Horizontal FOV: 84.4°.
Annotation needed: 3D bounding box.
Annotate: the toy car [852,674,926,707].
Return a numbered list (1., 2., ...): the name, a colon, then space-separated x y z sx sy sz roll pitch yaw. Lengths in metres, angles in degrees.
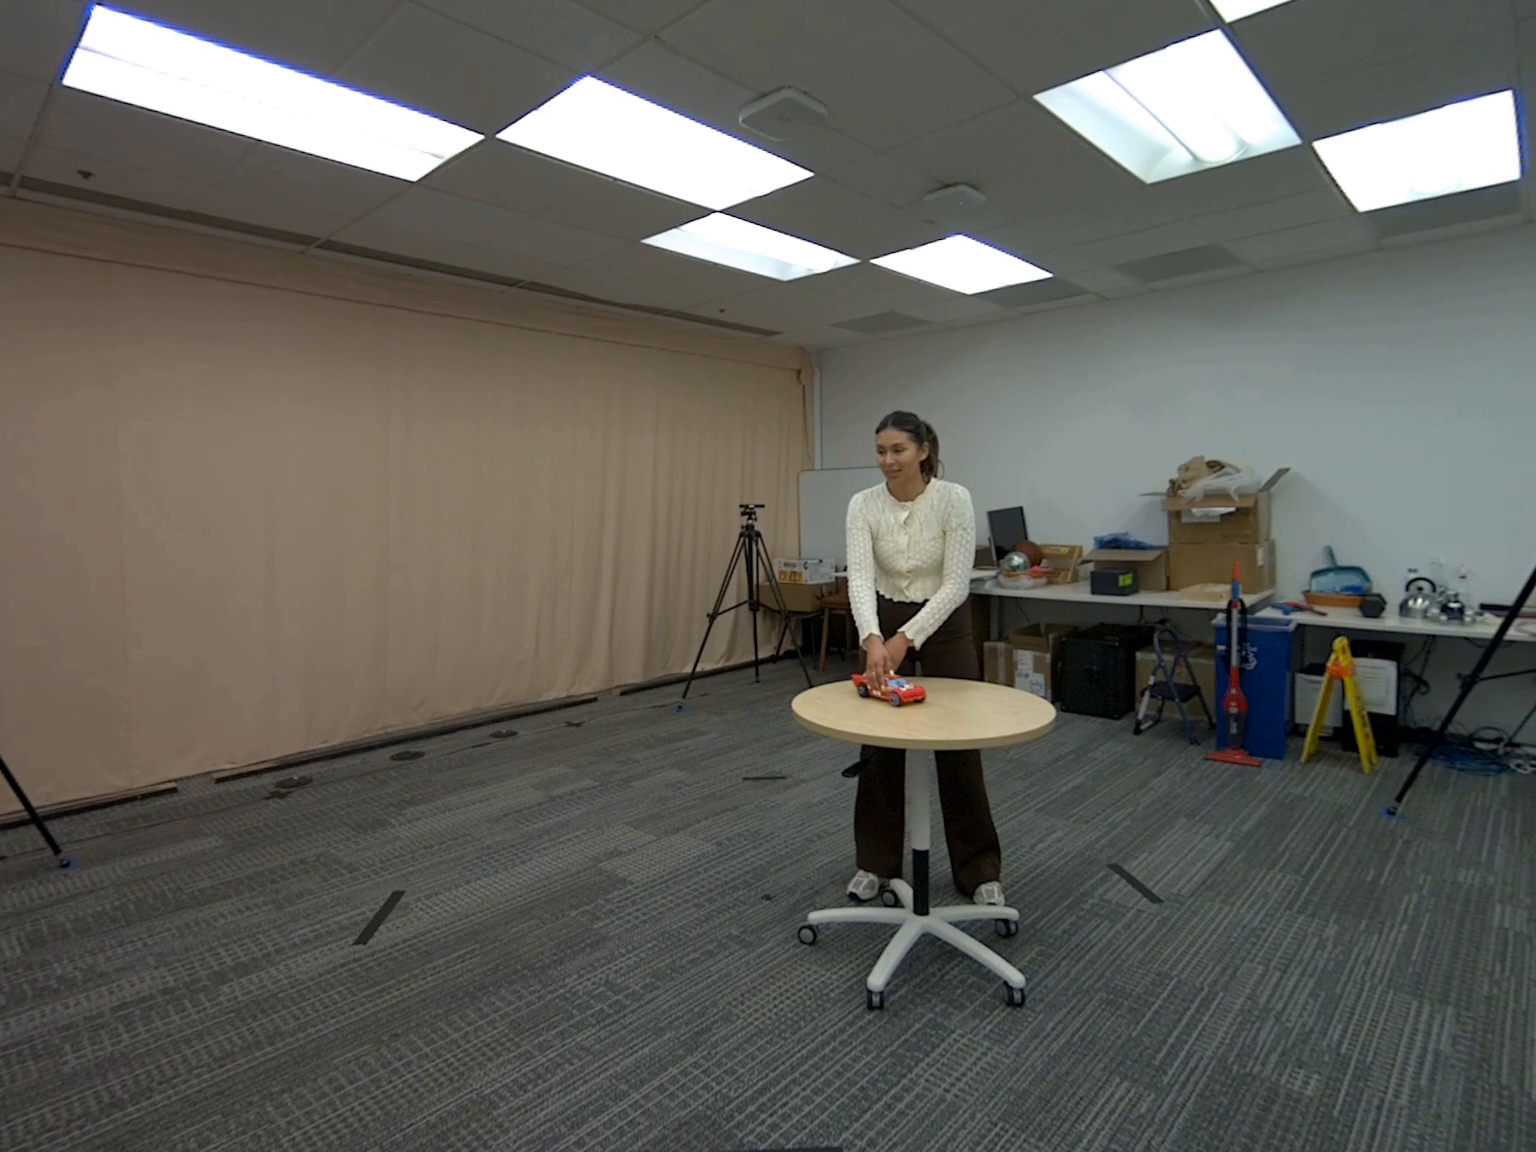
1. toy car: 0.377 0.351 2.608 0.127 0.082 0.263 -5 19 -31
